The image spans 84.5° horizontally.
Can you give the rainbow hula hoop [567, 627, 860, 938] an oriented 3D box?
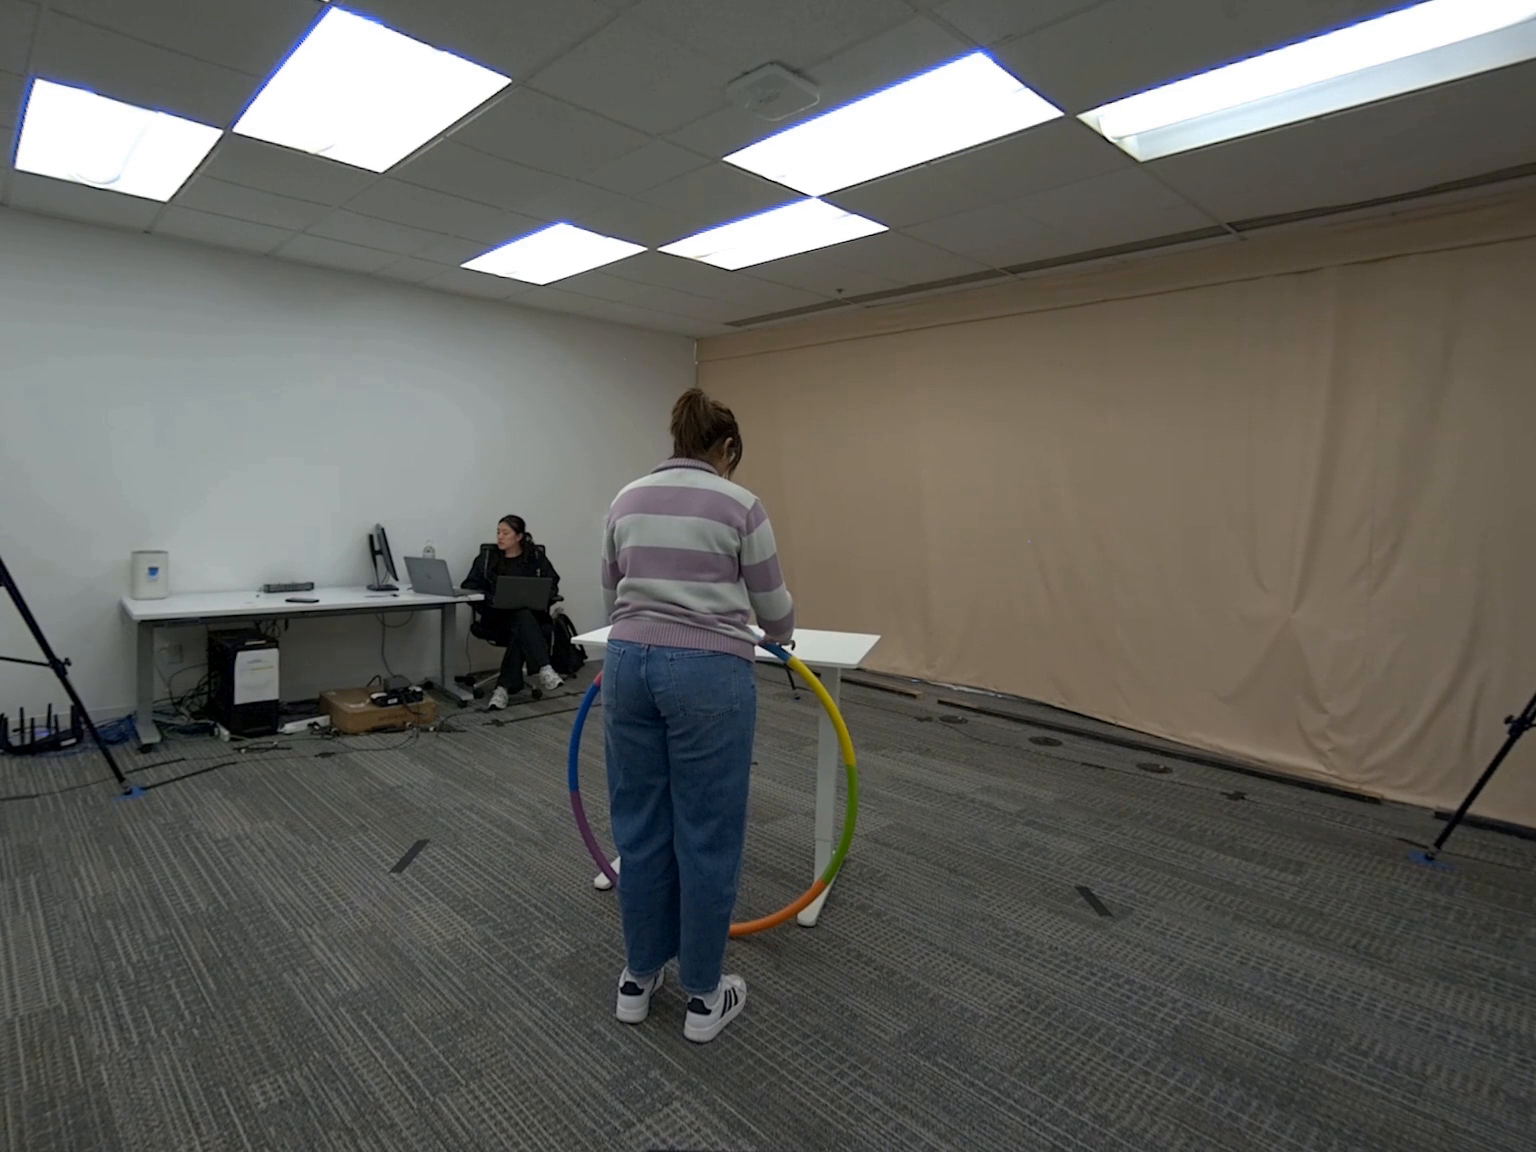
[{"bbox_3d":[-0.212,0.657,2.688,0.992,0.979,0.035,3,-2,18],"label":"rainbow hula hoop"}]
